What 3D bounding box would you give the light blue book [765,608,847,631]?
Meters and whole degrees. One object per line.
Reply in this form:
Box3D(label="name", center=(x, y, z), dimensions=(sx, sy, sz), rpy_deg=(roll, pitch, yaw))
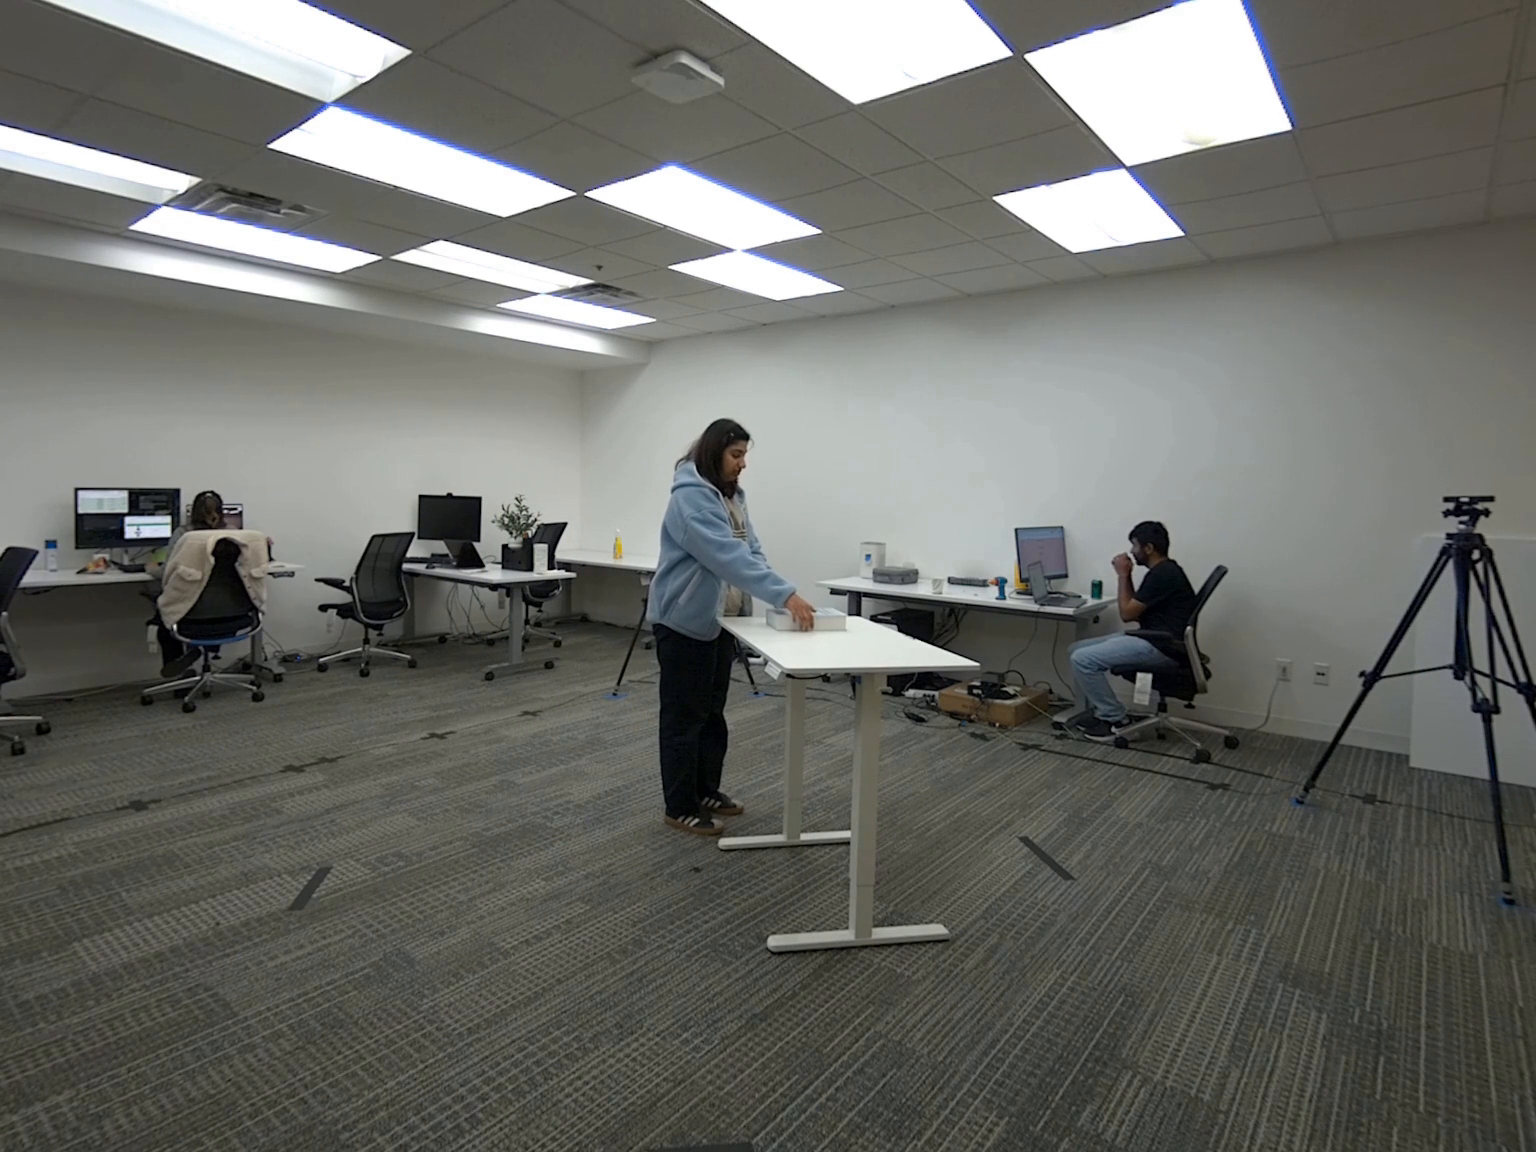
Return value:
Box3D(label="light blue book", center=(0.132, 0.152, 3.183), dimensions=(0.258, 0.059, 0.194), rpy_deg=(-2, 5, -10))
